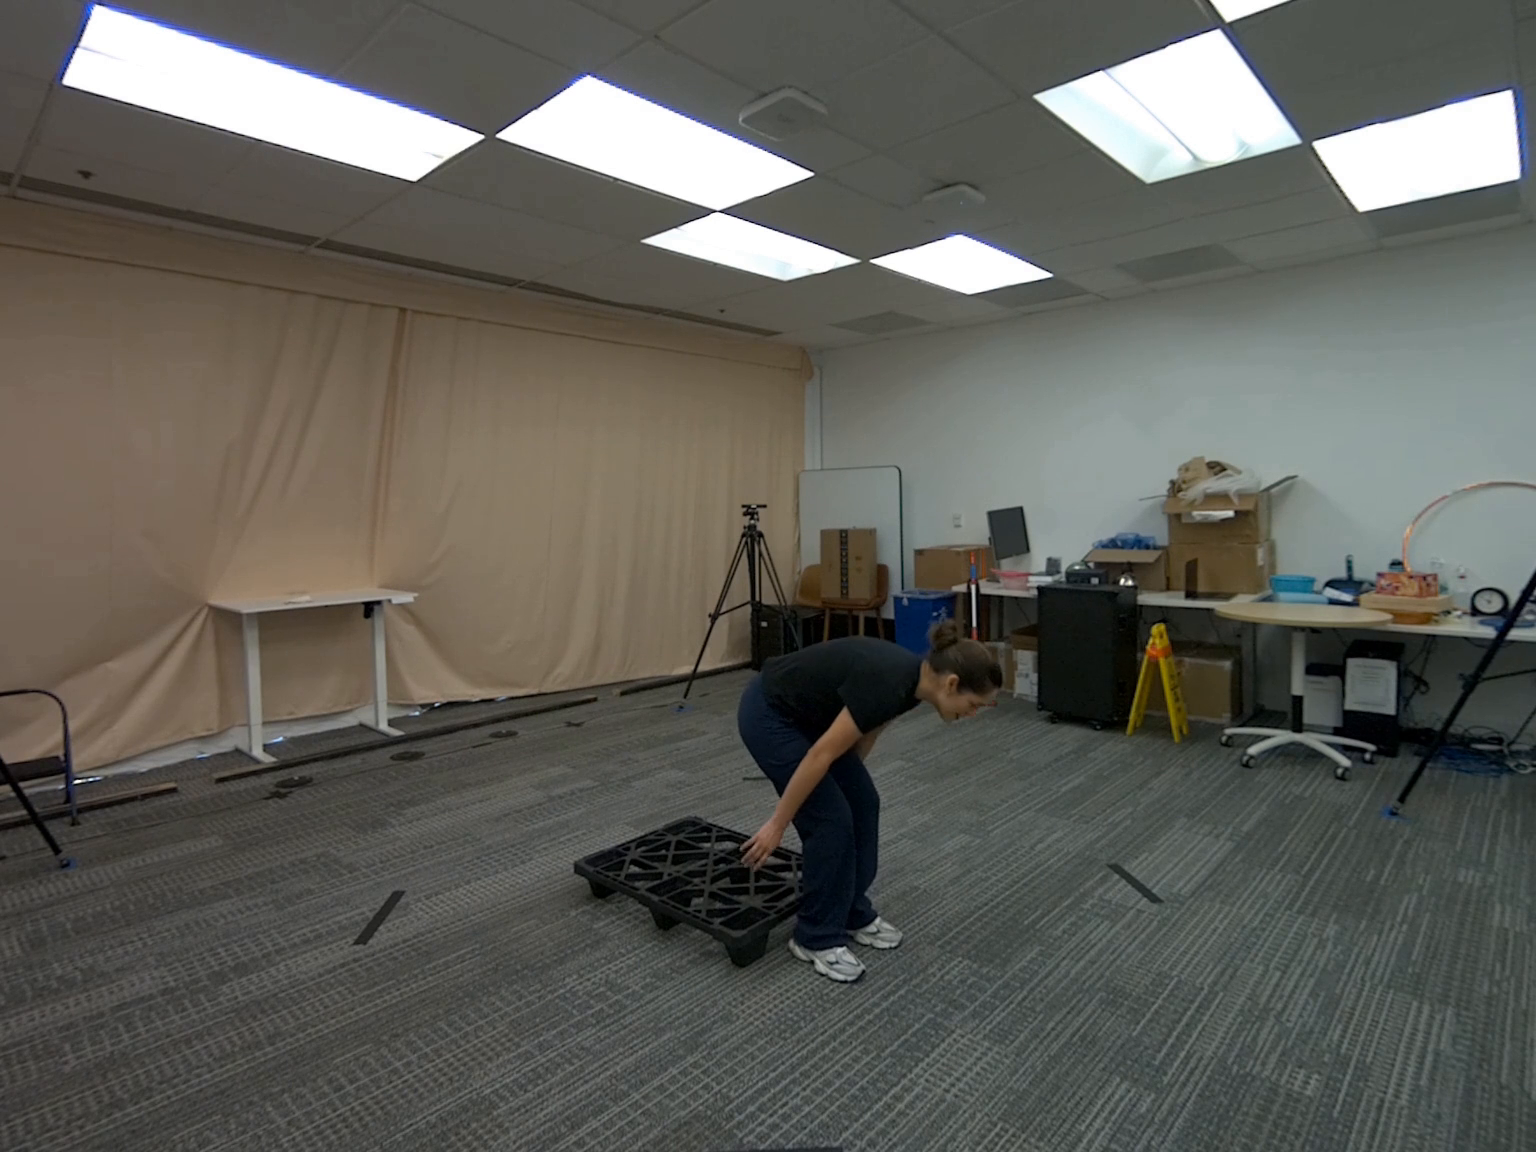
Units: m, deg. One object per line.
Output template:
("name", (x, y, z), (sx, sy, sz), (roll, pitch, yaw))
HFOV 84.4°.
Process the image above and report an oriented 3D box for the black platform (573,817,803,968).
("black platform", (-0.191, 1.084, 2.941), (0.832, 0.143, 0.587), (3, 7, 42))
